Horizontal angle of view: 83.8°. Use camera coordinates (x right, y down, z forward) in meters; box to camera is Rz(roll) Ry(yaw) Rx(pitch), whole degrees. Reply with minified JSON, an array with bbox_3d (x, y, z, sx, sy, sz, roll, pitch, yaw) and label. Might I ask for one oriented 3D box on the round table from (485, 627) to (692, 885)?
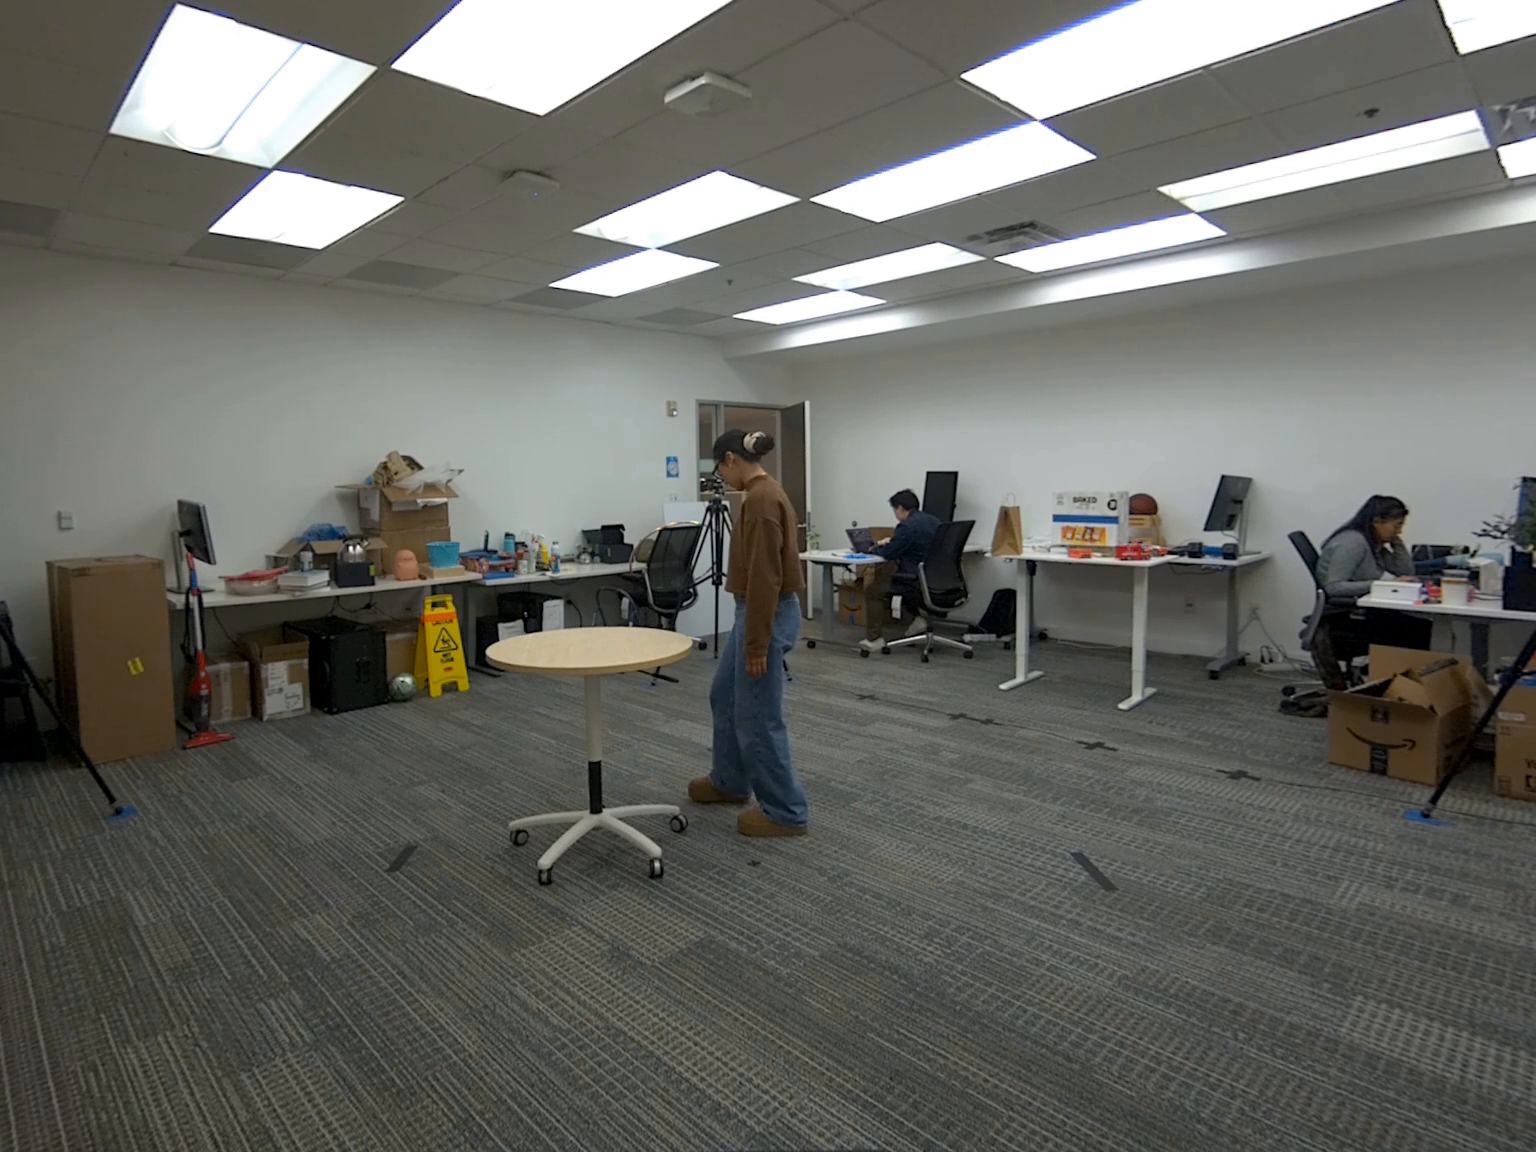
[{"bbox_3d":[-0.647,0.651,3.236,0.763,0.791,0.768,-1,5,-2],"label":"round table"}]
